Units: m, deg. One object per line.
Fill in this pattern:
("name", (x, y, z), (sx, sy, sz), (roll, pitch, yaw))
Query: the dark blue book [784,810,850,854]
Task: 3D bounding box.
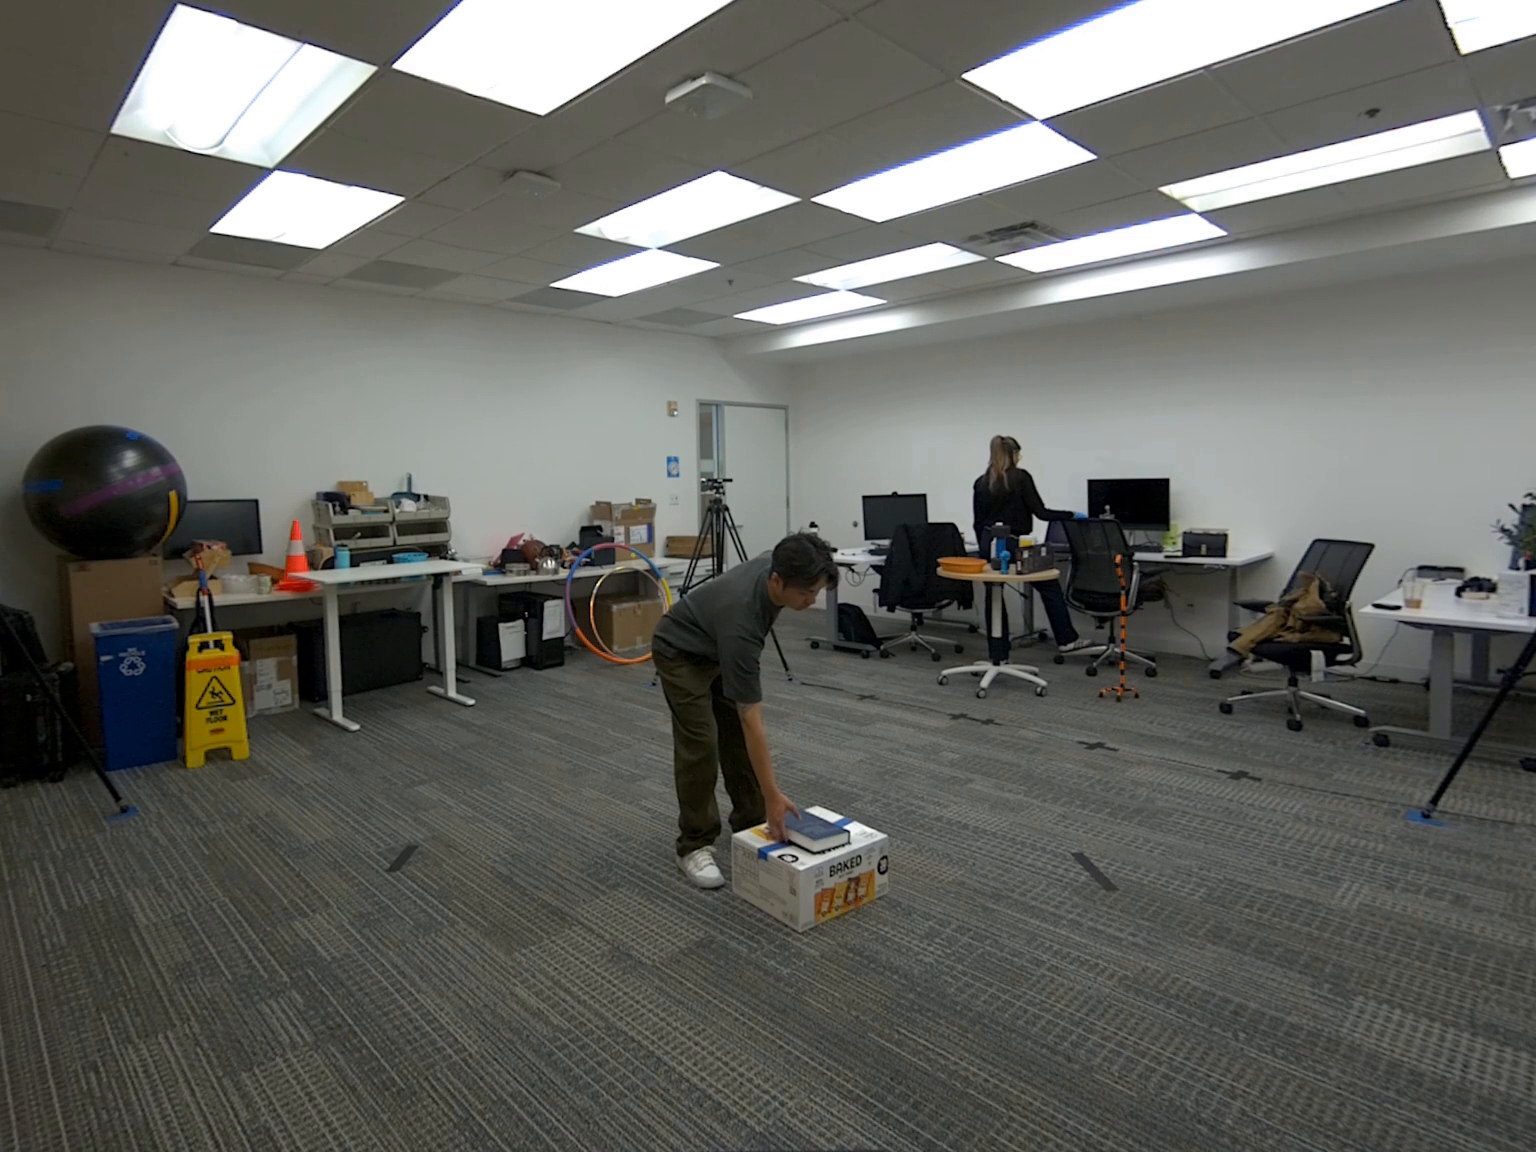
("dark blue book", (0.143, 0.852, 2.847), (0.159, 0.045, 0.252), (-1, 5, -38))
